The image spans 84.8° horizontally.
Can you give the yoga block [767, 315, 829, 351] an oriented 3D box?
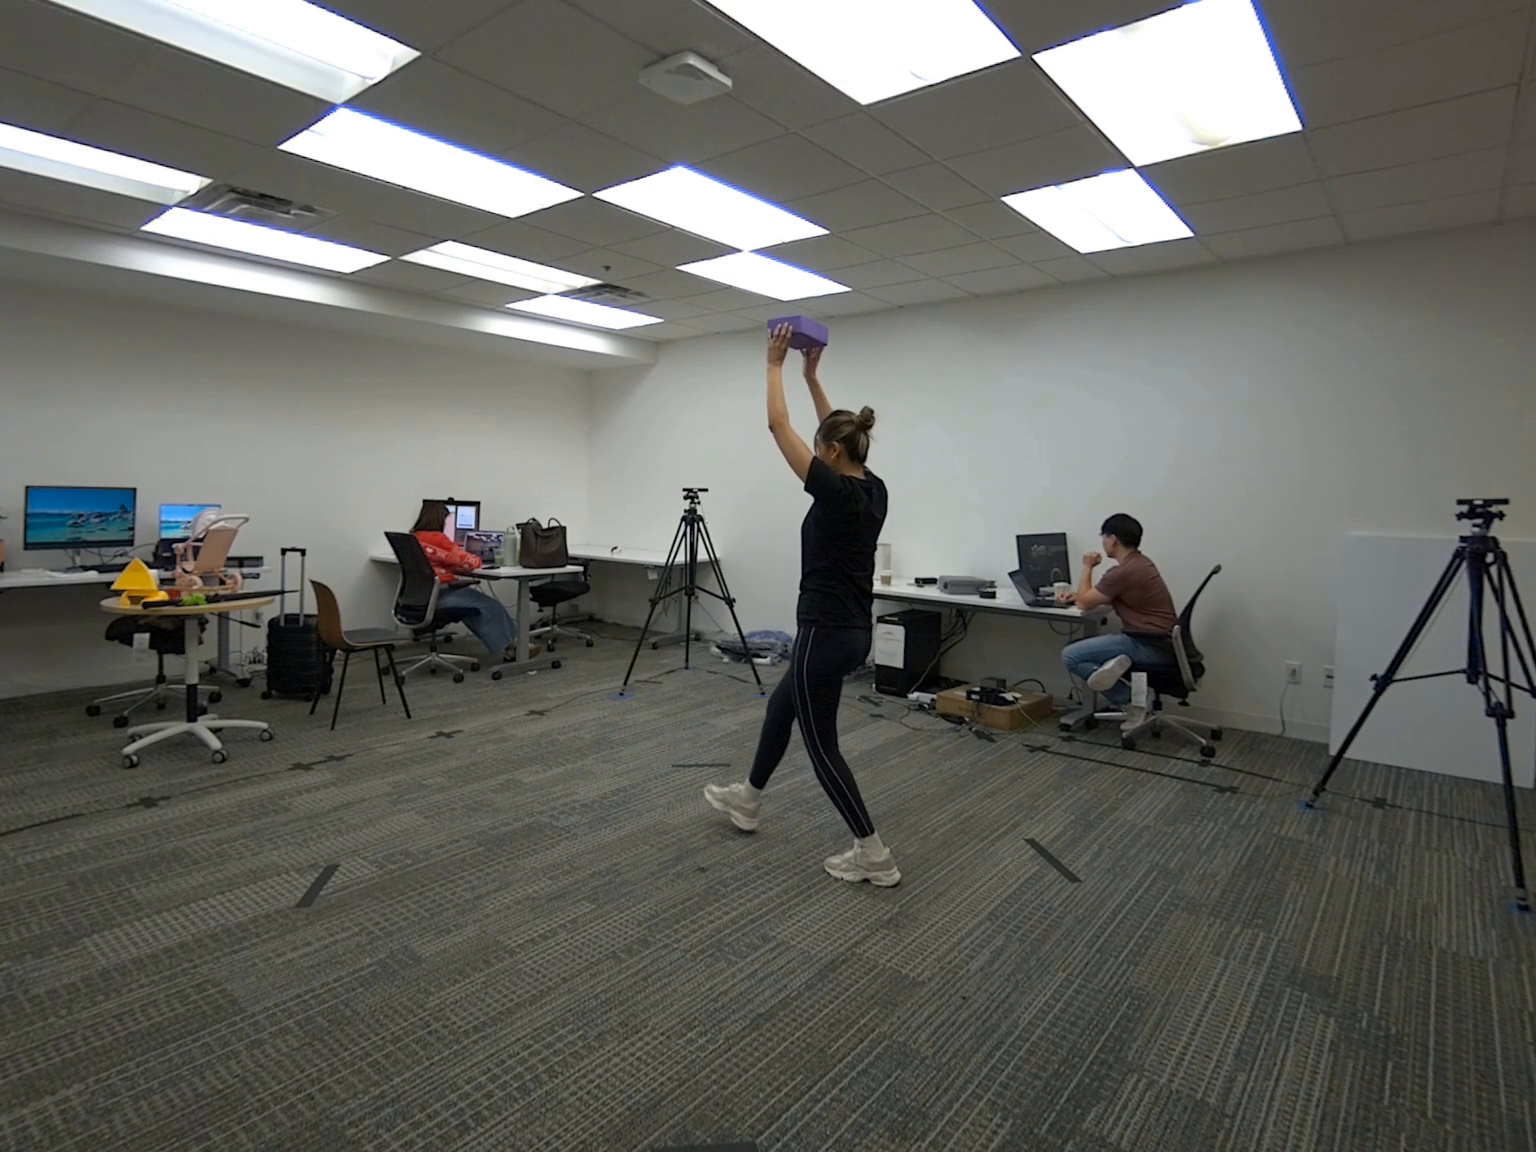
[{"bbox_3d":[0.102,-0.918,3.204,0.153,0.076,0.223,0,2,32],"label":"yoga block"}]
